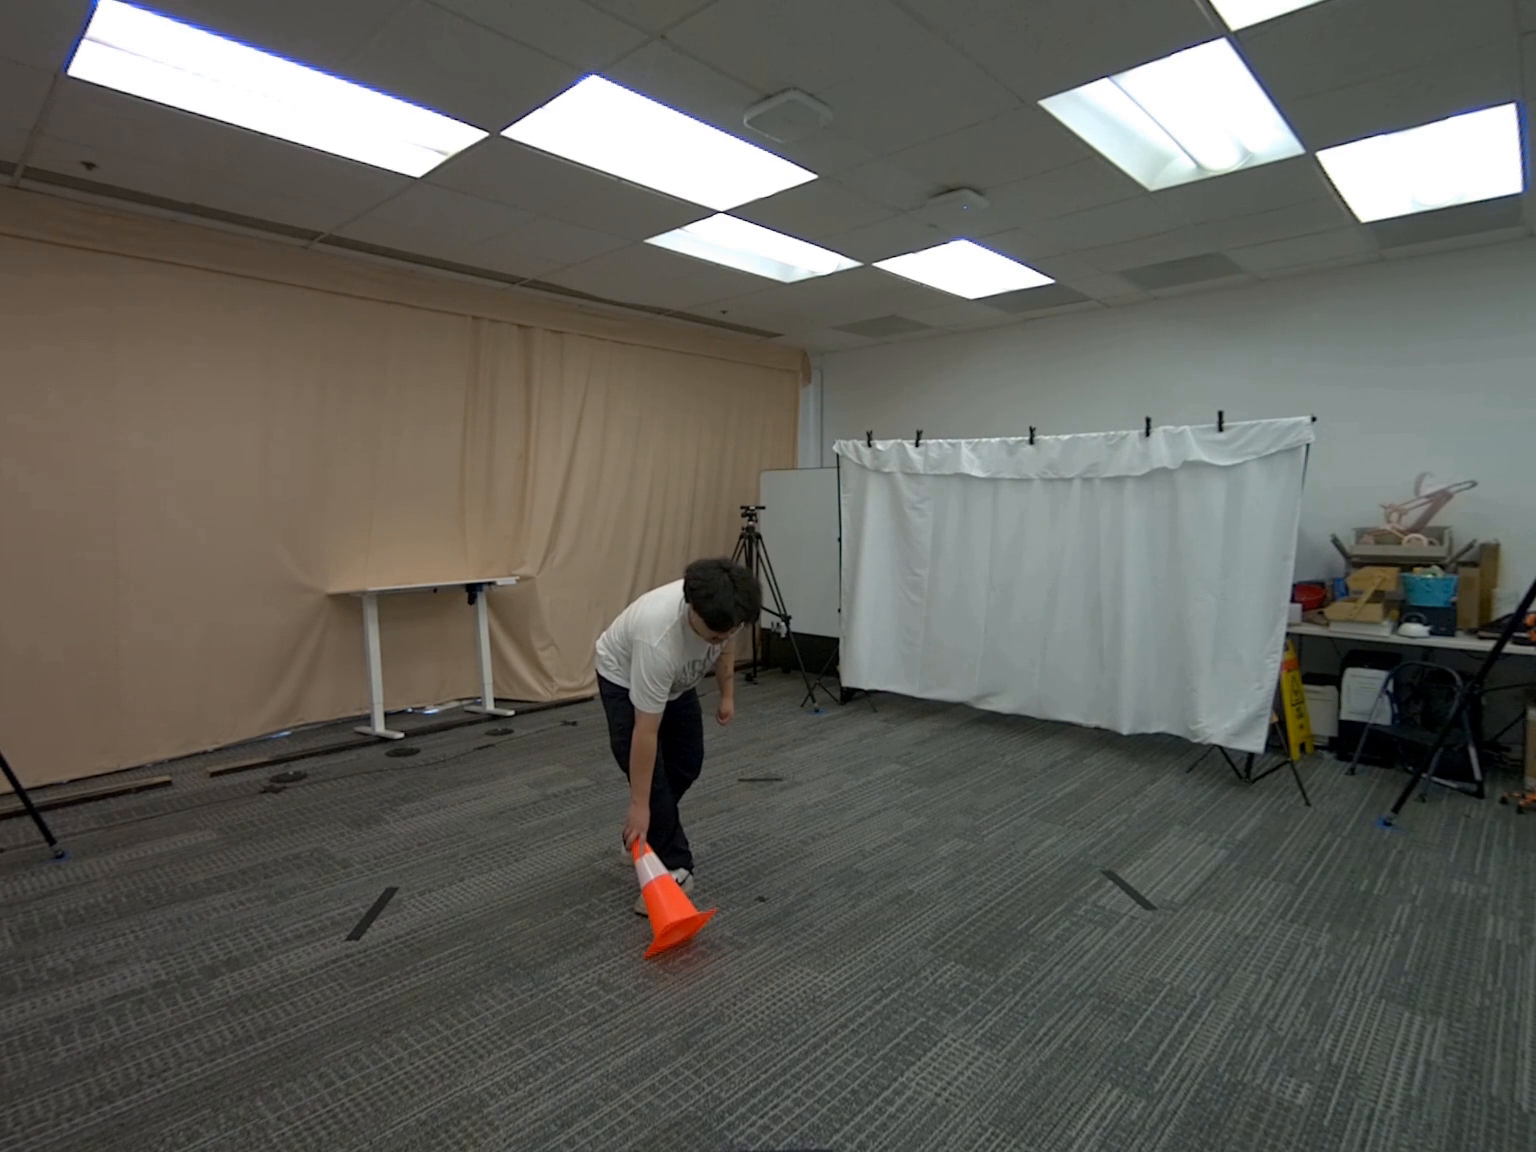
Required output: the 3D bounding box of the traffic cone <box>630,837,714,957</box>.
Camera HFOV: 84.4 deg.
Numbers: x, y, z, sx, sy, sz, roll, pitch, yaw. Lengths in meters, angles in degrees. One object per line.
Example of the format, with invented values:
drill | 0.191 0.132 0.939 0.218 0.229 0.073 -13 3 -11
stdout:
traffic cone | -0.366 0.972 2.714 0.198 0.203 0.396 4 40 -41
